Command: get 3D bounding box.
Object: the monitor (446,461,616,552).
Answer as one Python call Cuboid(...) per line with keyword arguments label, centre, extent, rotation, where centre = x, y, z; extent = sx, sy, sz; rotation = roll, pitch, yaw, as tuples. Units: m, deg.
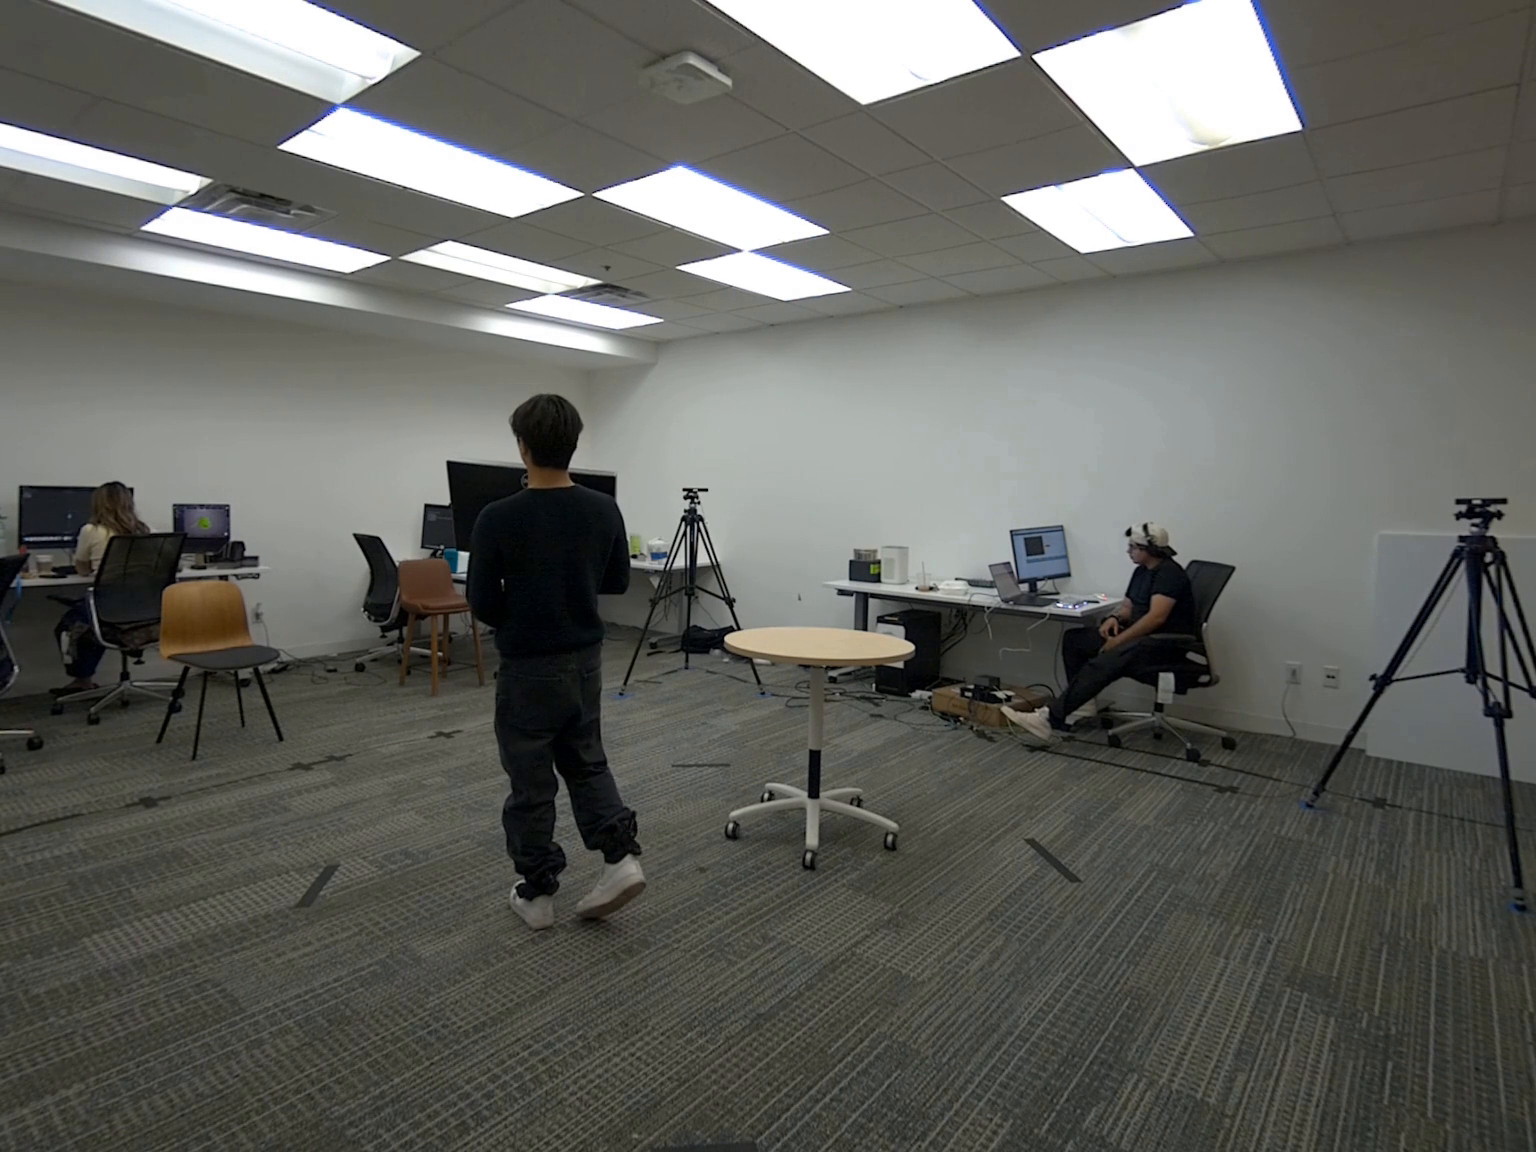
Cuboid(label="monitor", centre=(-0.806, -0.118, 2.876), extent=(0.529, 0.509, 0.177), rotation=(5, 15, -2))
